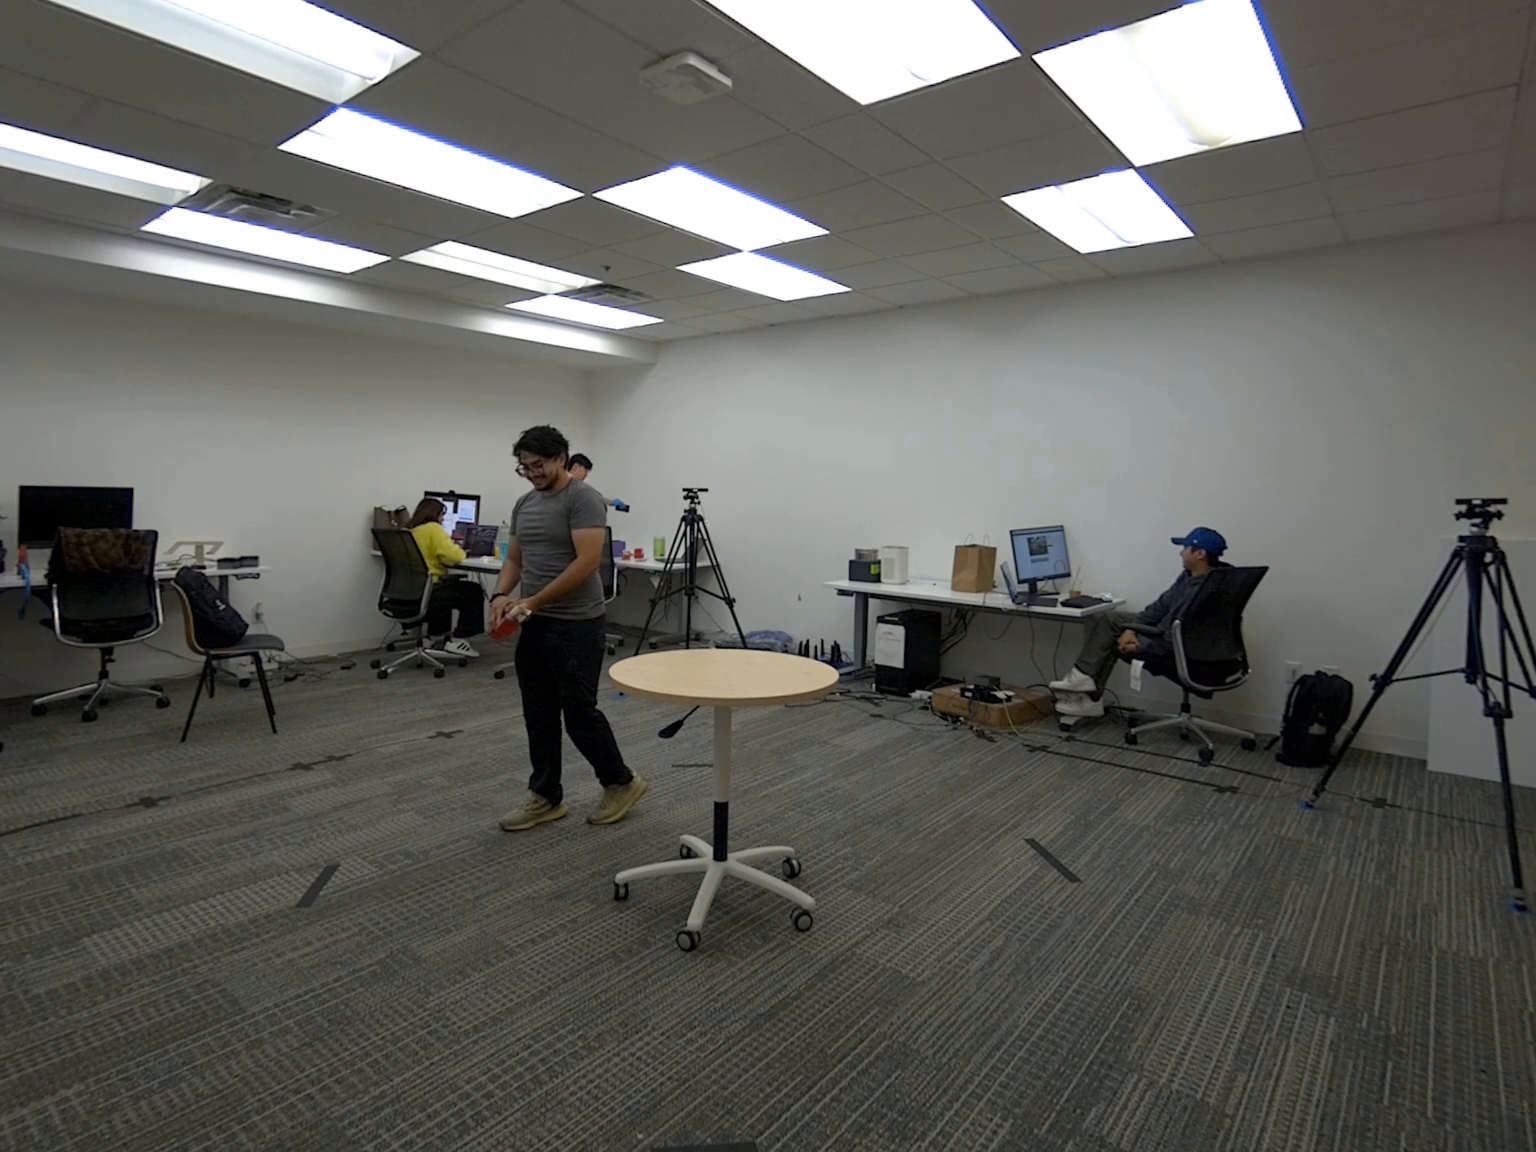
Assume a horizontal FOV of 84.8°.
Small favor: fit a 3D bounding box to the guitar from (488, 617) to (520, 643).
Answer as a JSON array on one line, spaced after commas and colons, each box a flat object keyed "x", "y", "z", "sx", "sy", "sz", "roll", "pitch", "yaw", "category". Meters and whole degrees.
[{"x": -1.012, "y": 0.178, "z": 3.283, "sx": 0.069, "sy": 0.193, "sz": 0.507, "roll": 41, "pitch": -11, "yaw": -16, "category": "guitar"}]
